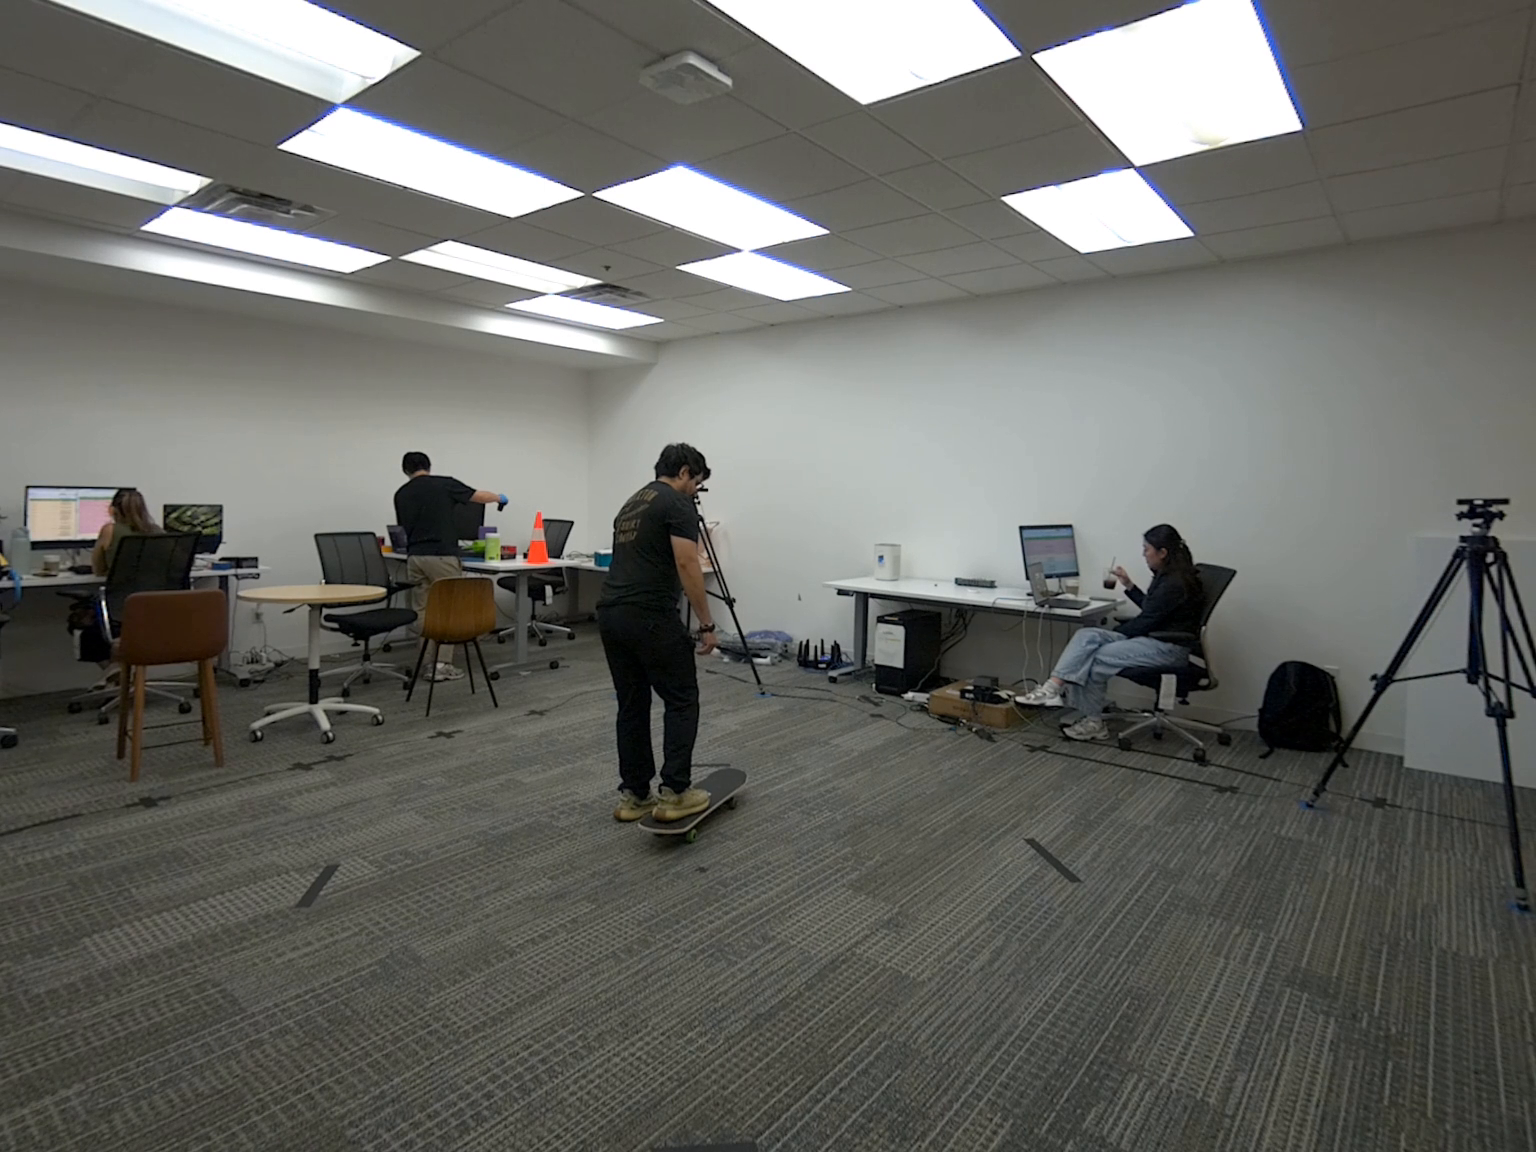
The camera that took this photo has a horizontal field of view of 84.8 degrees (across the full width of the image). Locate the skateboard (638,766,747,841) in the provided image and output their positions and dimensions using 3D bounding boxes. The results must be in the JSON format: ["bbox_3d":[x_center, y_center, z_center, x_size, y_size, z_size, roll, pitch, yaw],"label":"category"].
[{"bbox_3d":[-0.308,0.973,3.567,0.198,0.110,0.770,2,6,22],"label":"skateboard"}]
